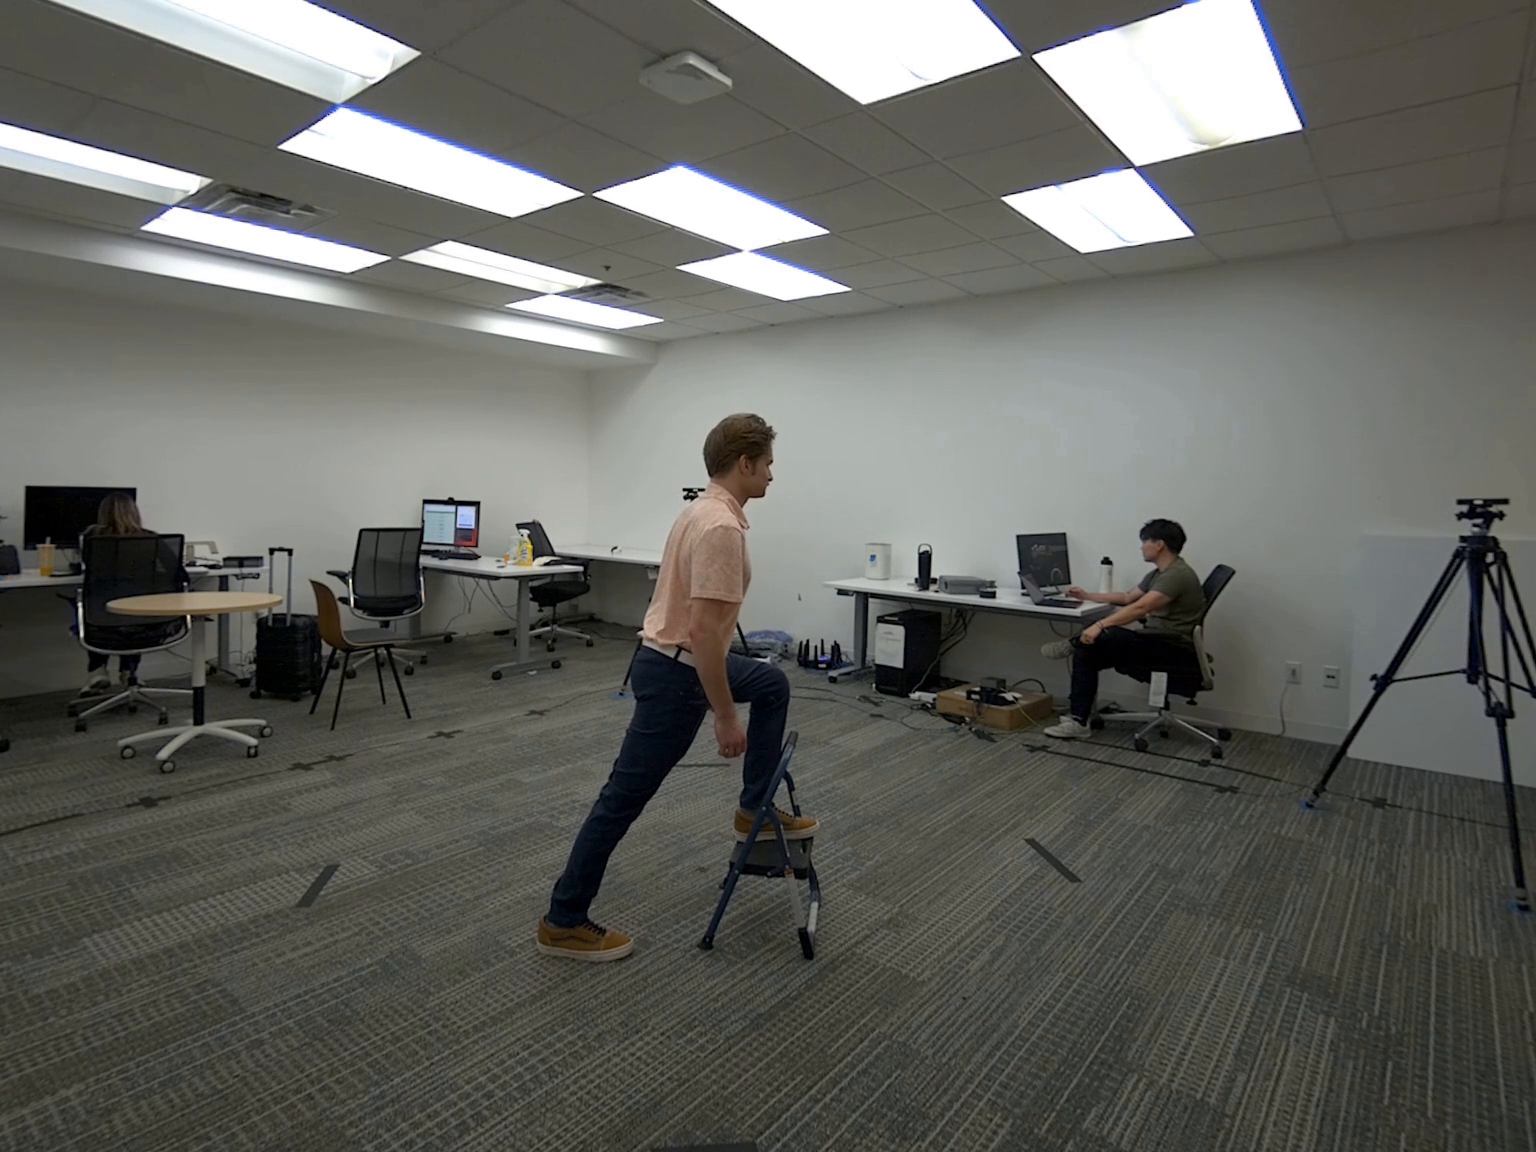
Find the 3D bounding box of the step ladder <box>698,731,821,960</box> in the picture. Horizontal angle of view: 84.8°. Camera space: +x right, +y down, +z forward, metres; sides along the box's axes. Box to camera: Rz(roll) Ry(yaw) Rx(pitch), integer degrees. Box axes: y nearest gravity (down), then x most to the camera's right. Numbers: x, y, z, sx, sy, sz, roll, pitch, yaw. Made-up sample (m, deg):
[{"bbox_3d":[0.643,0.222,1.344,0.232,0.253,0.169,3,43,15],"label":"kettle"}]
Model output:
[{"bbox_3d":[-0.013,0.807,2.733,0.353,0.604,0.428,2,4,7],"label":"step ladder"}]
